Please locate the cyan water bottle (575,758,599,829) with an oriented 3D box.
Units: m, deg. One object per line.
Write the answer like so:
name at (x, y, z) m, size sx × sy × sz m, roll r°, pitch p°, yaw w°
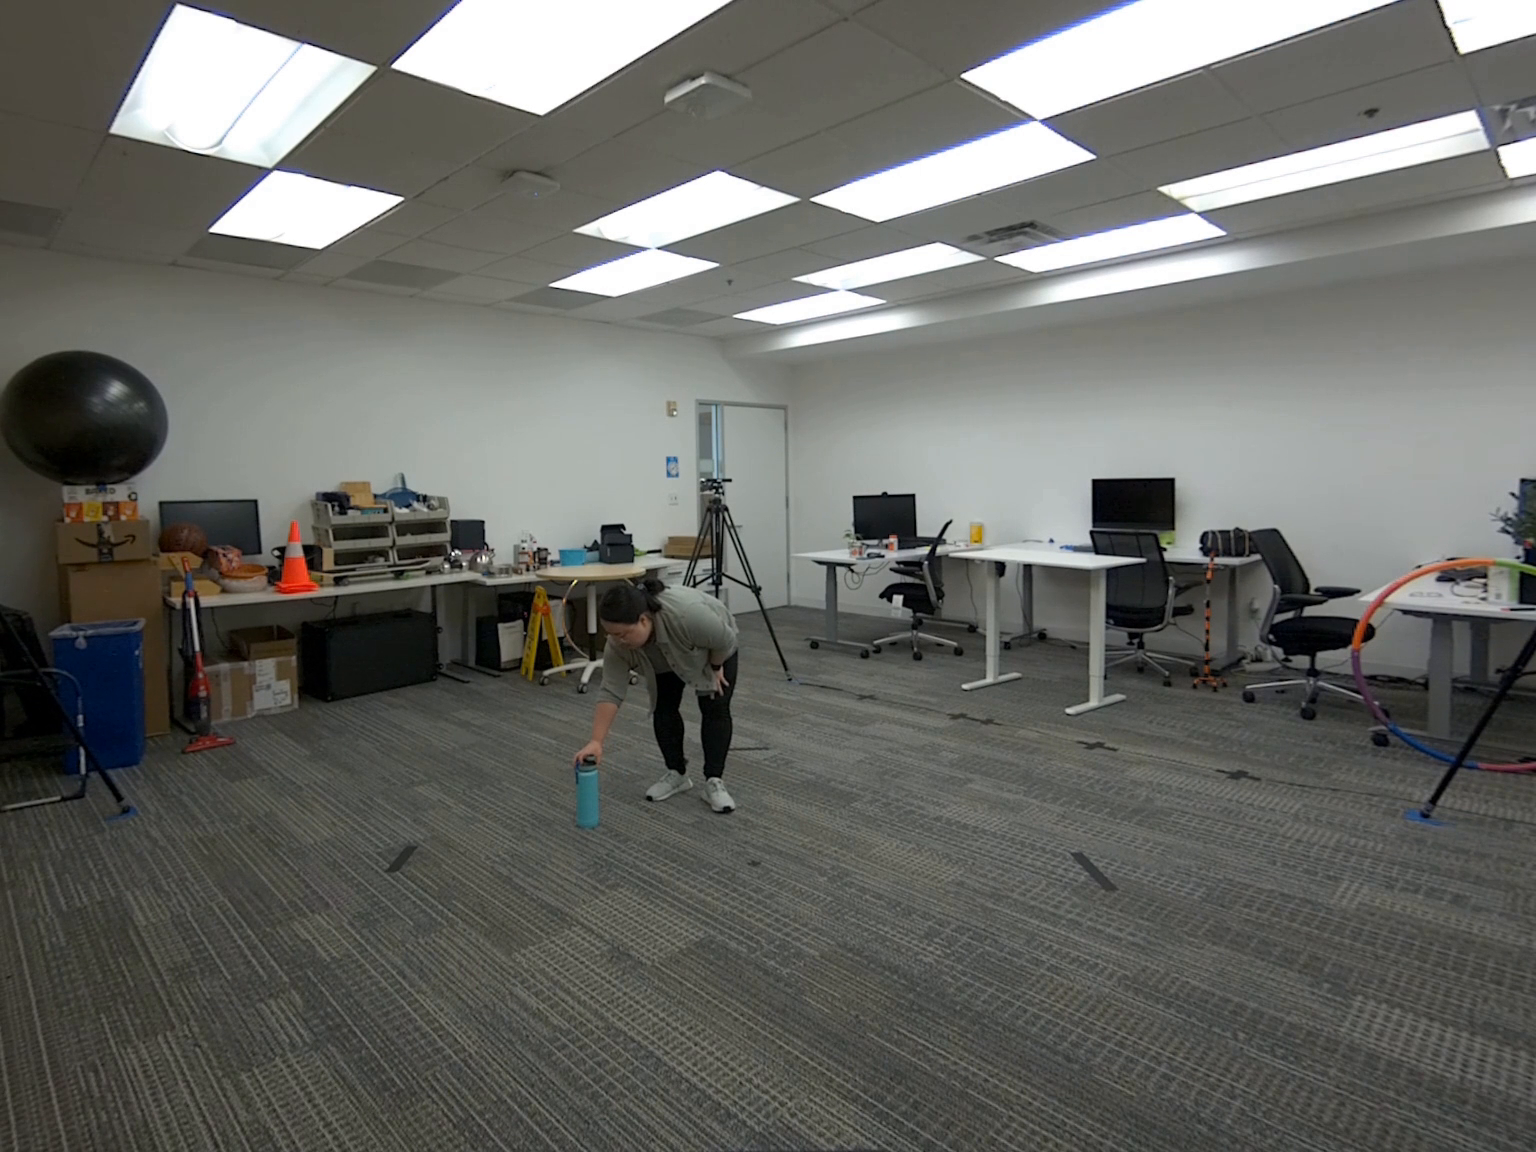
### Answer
cyan water bottle at (-0.738, 0.874, 3.489) m, size 0.092 × 0.282 × 0.093 m, roll 0°, pitch 3°, yaw -2°
